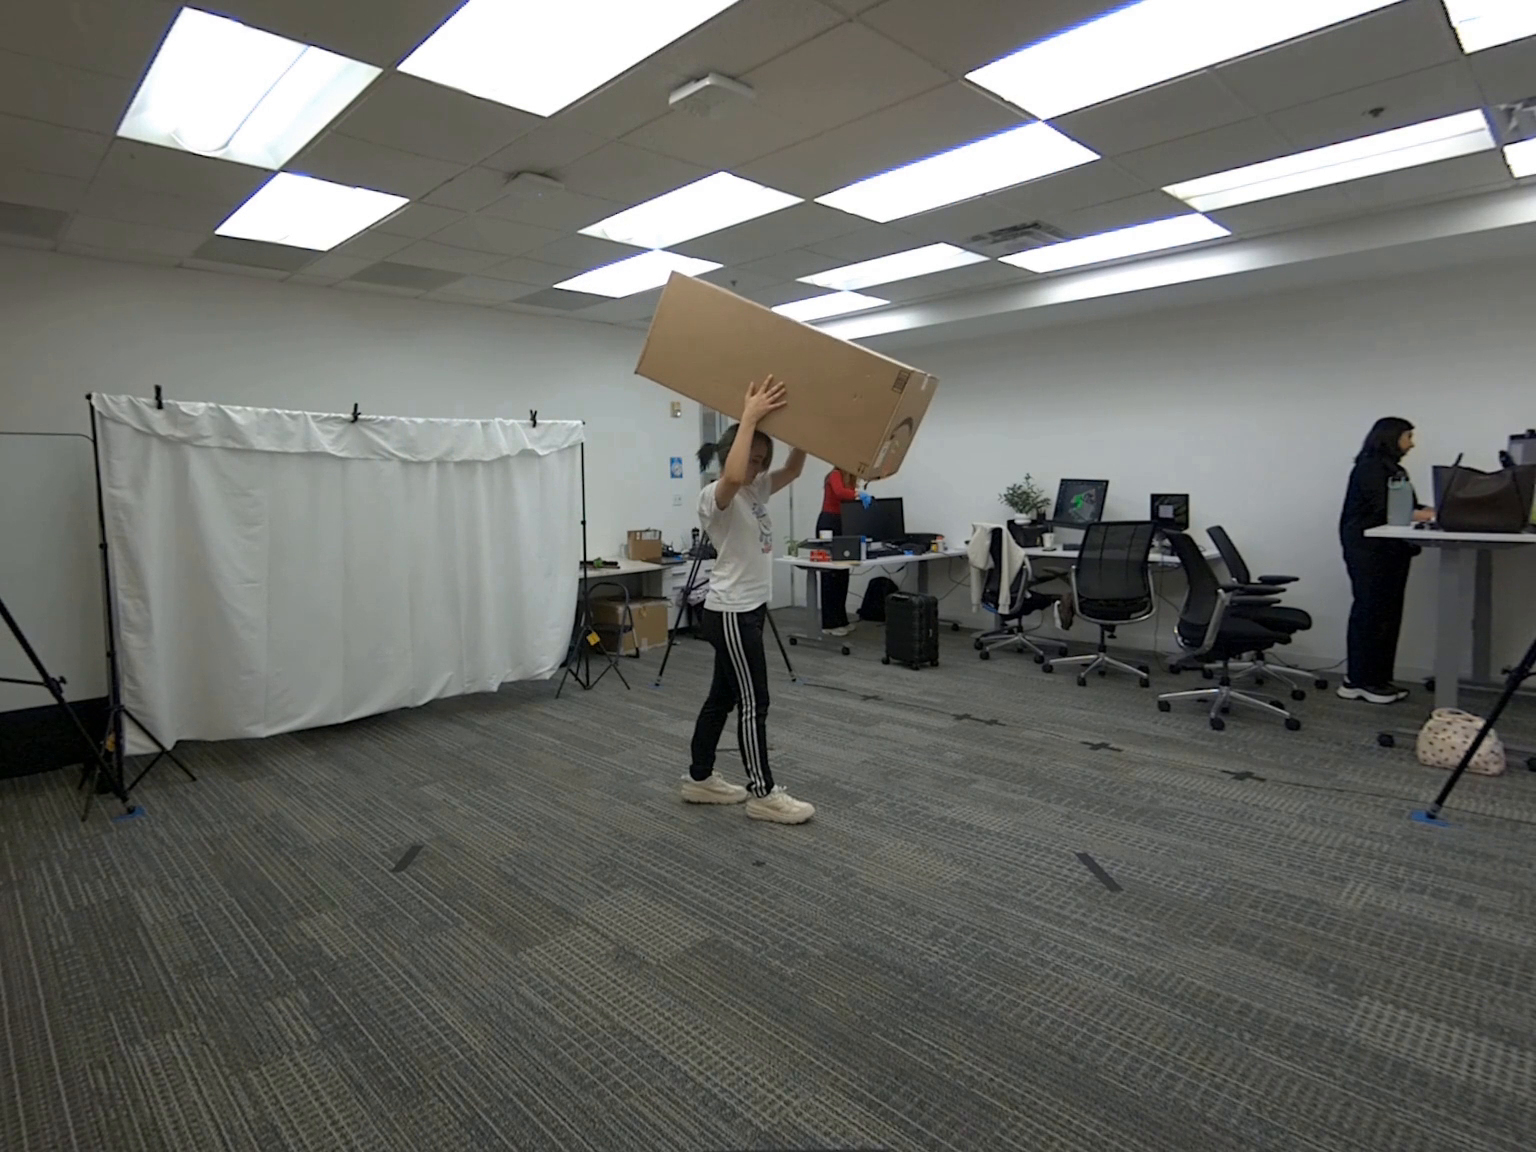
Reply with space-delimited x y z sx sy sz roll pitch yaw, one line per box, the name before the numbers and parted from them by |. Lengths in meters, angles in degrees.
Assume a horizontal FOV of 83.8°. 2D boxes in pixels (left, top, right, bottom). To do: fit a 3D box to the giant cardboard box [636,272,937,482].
giant cardboard box | 0.085 -0.794 3.425 1.050 0.444 0.575 28 16 17
